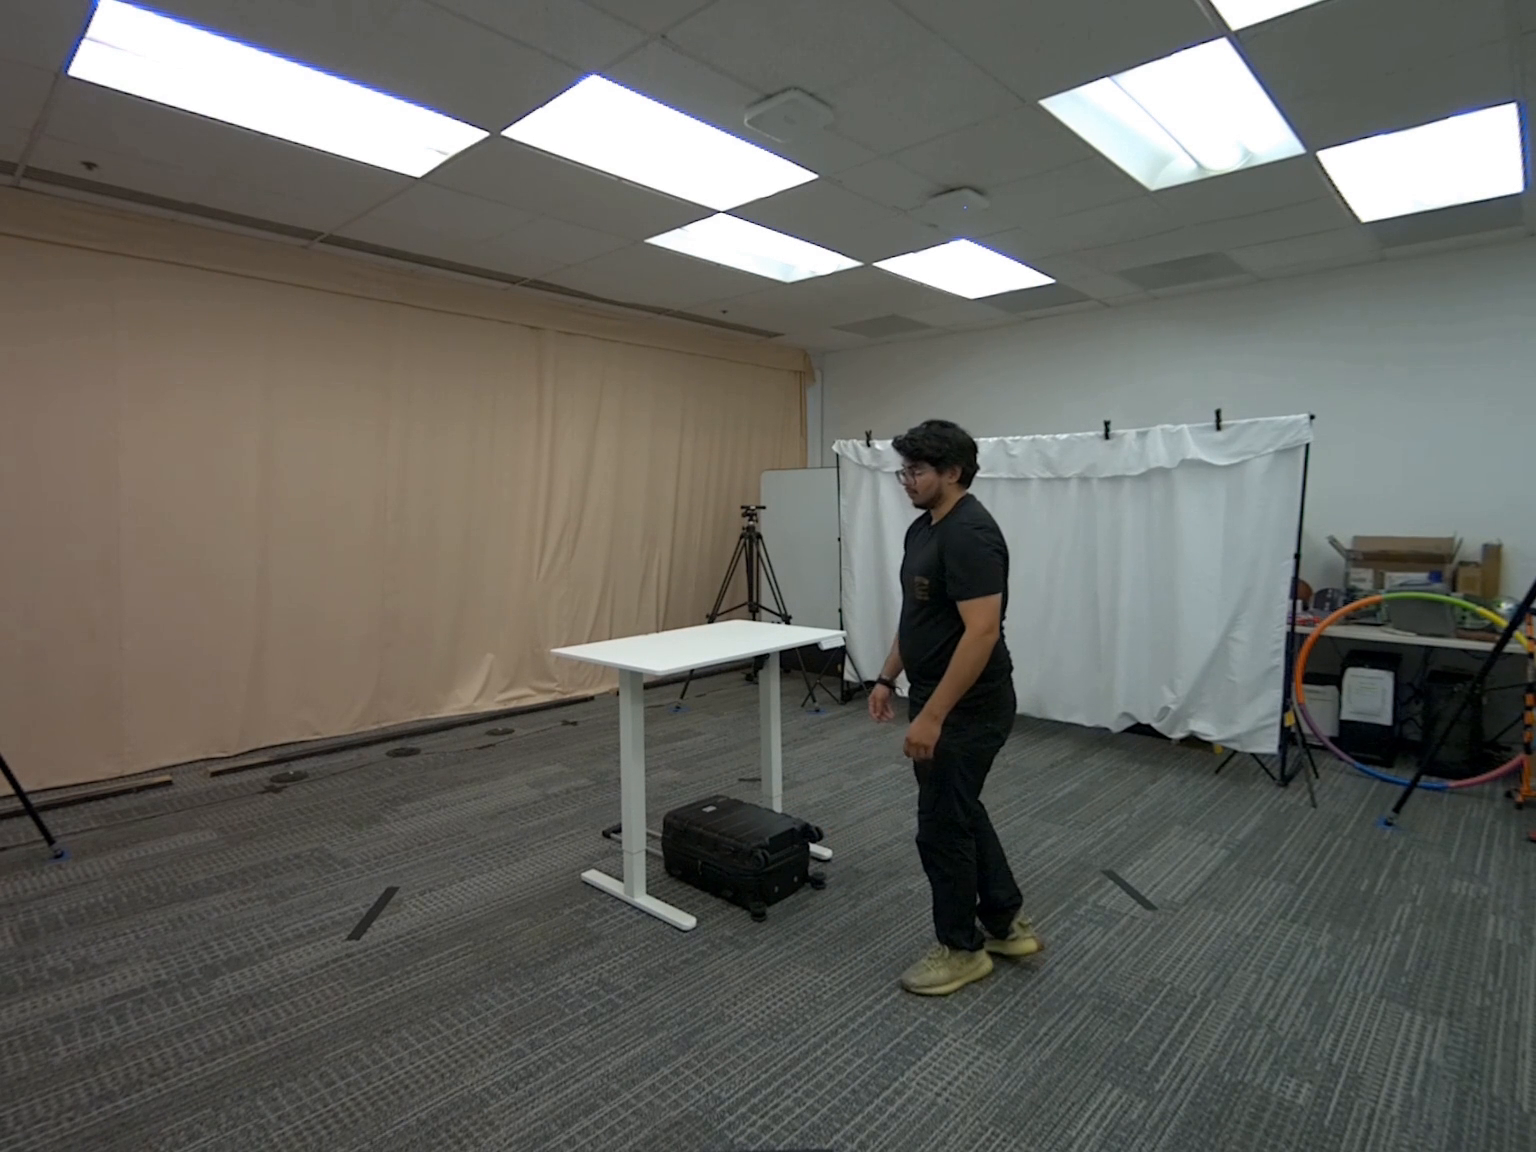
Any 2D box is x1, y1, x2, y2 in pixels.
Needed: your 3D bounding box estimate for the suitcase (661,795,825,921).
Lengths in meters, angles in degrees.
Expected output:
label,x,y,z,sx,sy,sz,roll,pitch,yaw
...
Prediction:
label,x,y,z,sx,sy,sz,roll,pitch,yaw
suitcase,-0.271,0.998,3.263,1.012,0.256,0.372,5,8,42
